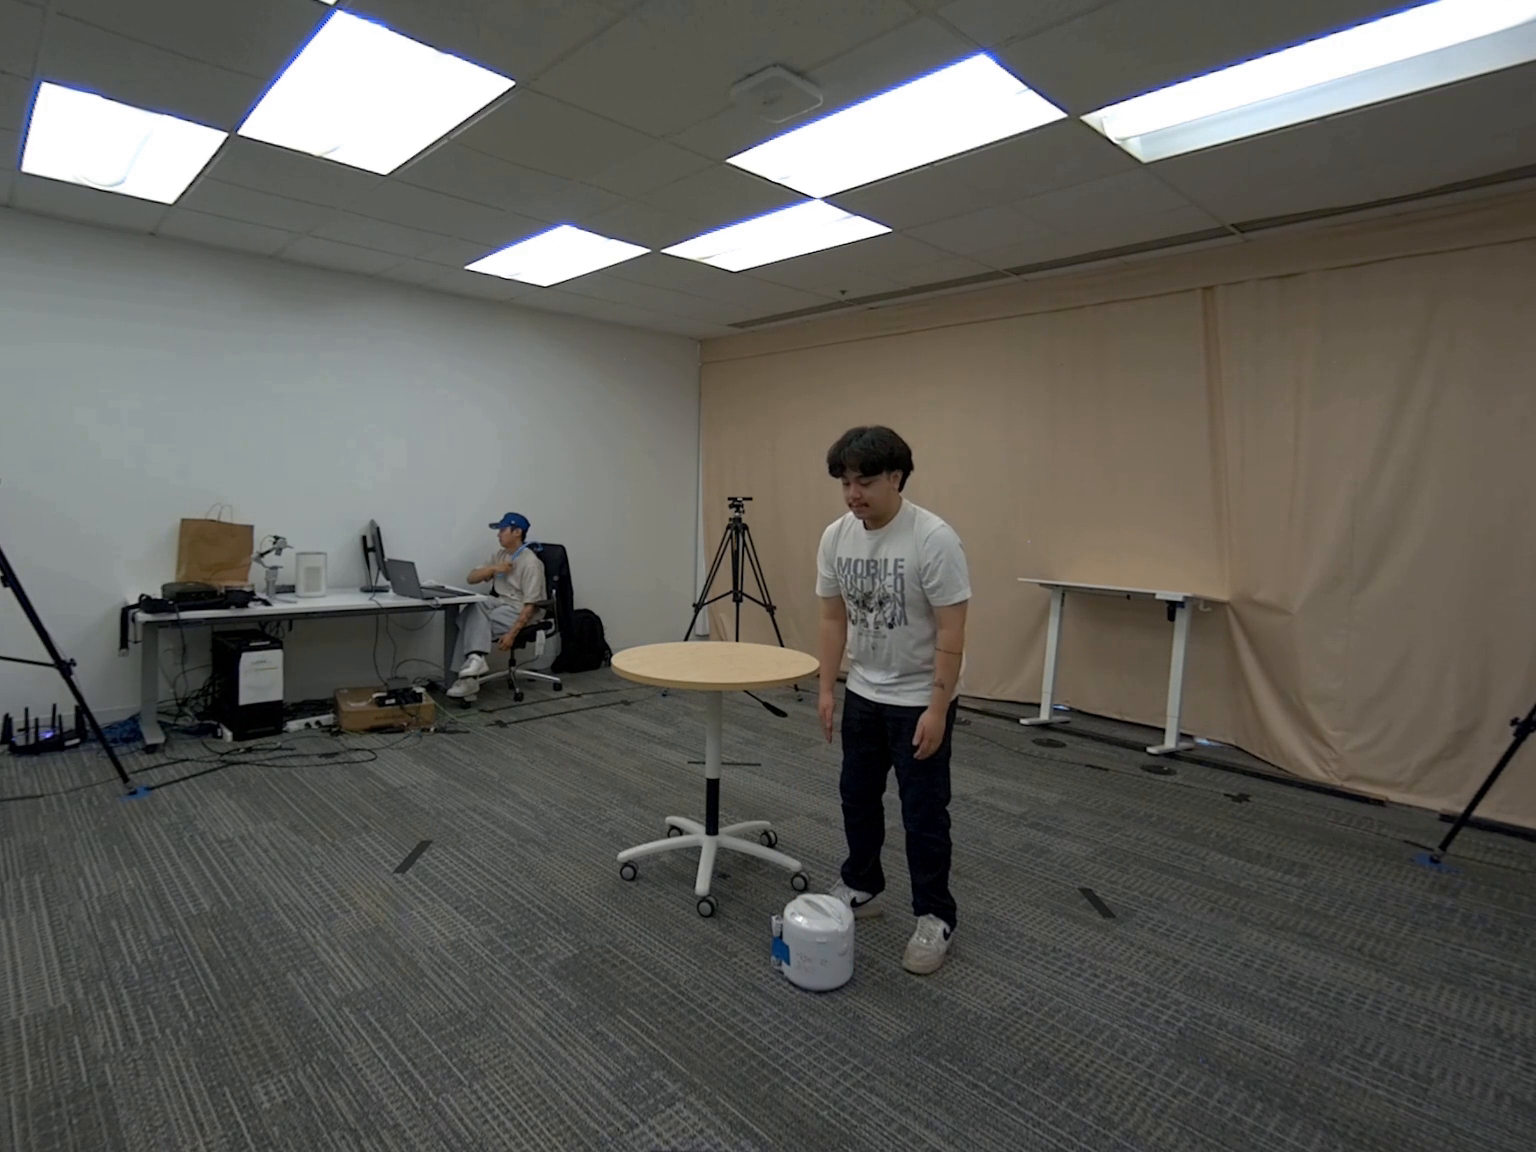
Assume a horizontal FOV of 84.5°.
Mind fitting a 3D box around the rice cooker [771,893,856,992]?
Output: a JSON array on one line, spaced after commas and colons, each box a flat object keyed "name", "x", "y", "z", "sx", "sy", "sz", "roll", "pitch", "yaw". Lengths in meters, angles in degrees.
[{"name": "rice cooker", "x": 0.143, "y": 1.055, "z": 2.467, "sx": 0.212, "sy": 0.232, "sz": 0.226, "roll": -3, "pitch": 6, "yaw": -39}]
